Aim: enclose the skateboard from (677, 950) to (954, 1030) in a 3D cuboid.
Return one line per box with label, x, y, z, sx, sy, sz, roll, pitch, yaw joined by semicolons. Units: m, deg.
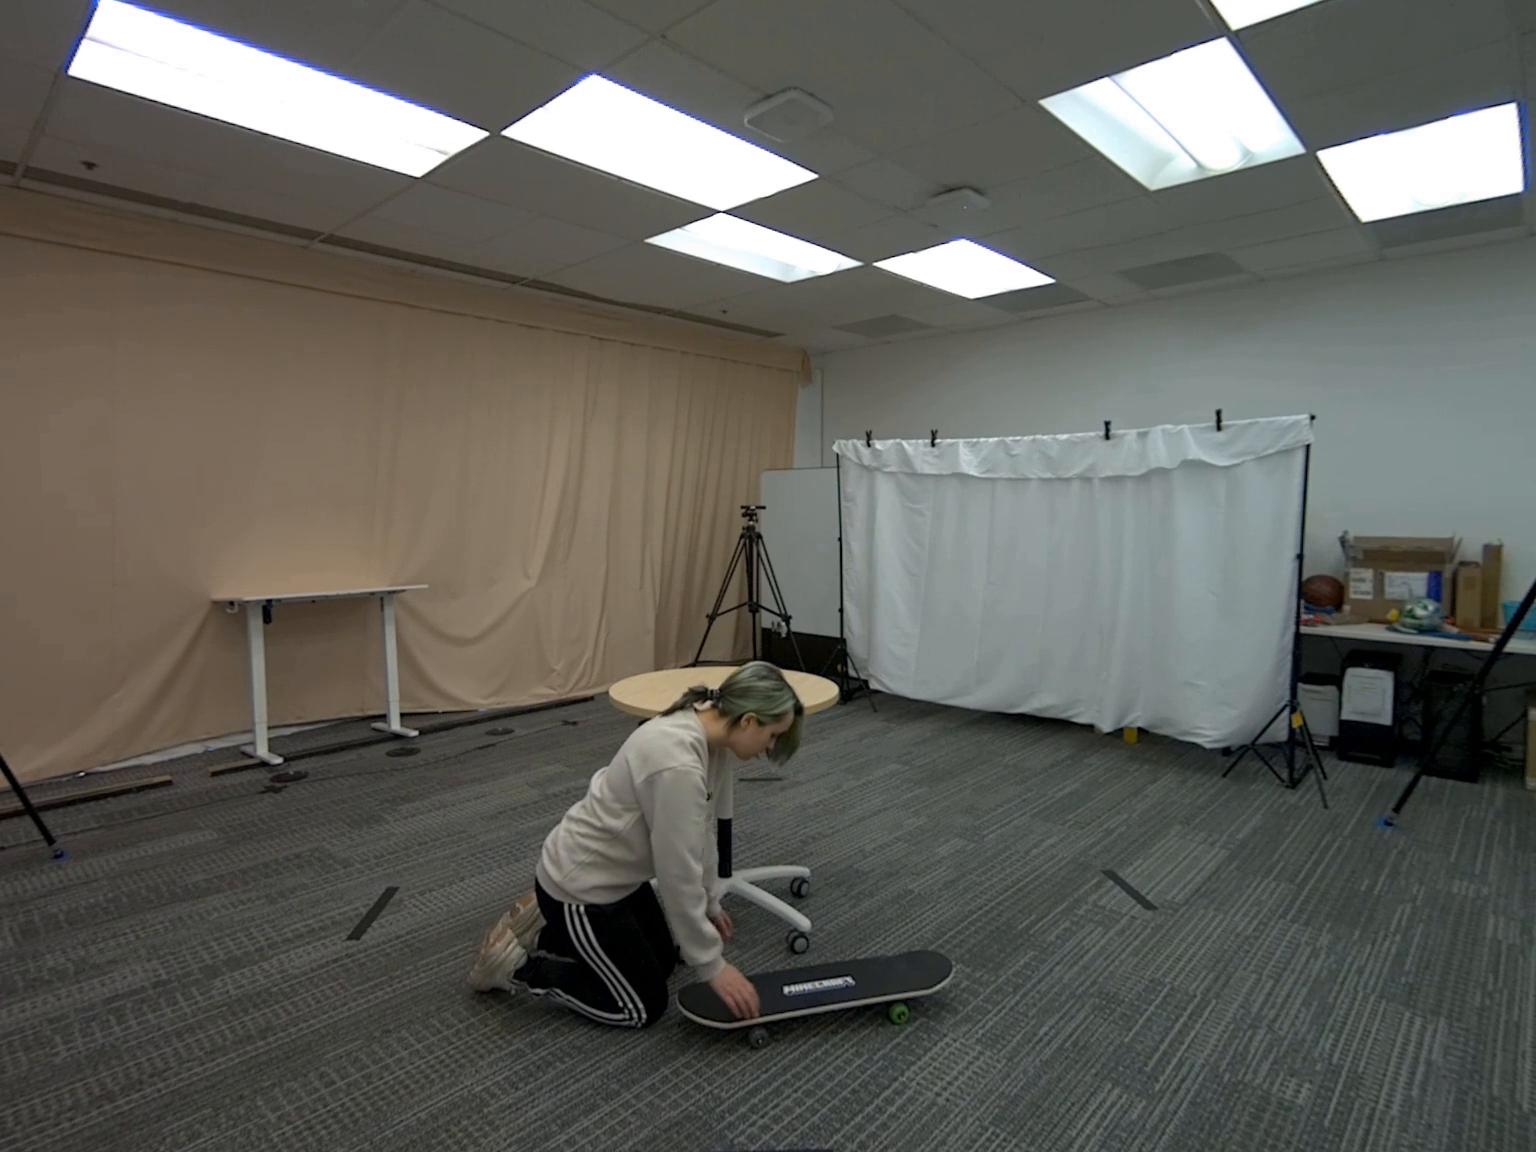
skateboard;0.144;1.135;2.293;0.773;0.110;0.197;-2;5;-15
